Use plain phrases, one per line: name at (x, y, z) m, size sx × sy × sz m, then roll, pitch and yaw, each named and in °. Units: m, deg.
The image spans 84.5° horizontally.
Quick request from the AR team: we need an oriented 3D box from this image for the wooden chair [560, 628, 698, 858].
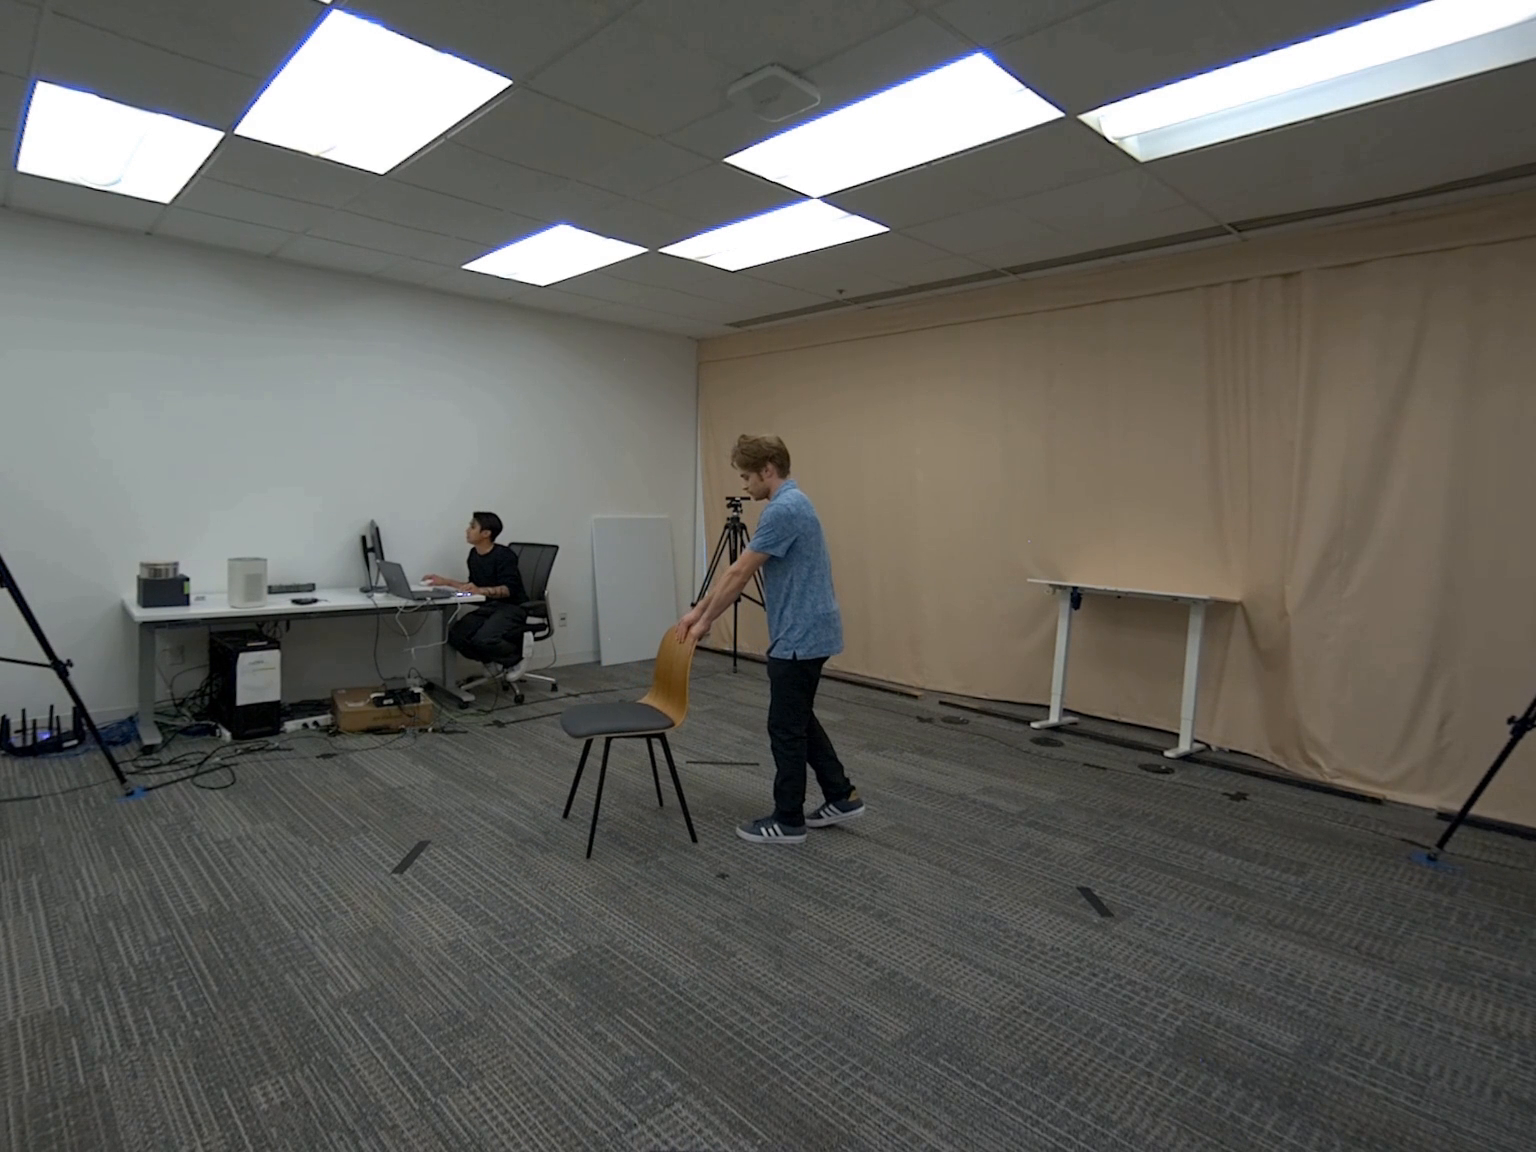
wooden chair at (-0.583, 0.631, 3.474) m, size 0.513 × 0.877 × 0.487 m, roll 5°, pitch 1°, yaw -25°
